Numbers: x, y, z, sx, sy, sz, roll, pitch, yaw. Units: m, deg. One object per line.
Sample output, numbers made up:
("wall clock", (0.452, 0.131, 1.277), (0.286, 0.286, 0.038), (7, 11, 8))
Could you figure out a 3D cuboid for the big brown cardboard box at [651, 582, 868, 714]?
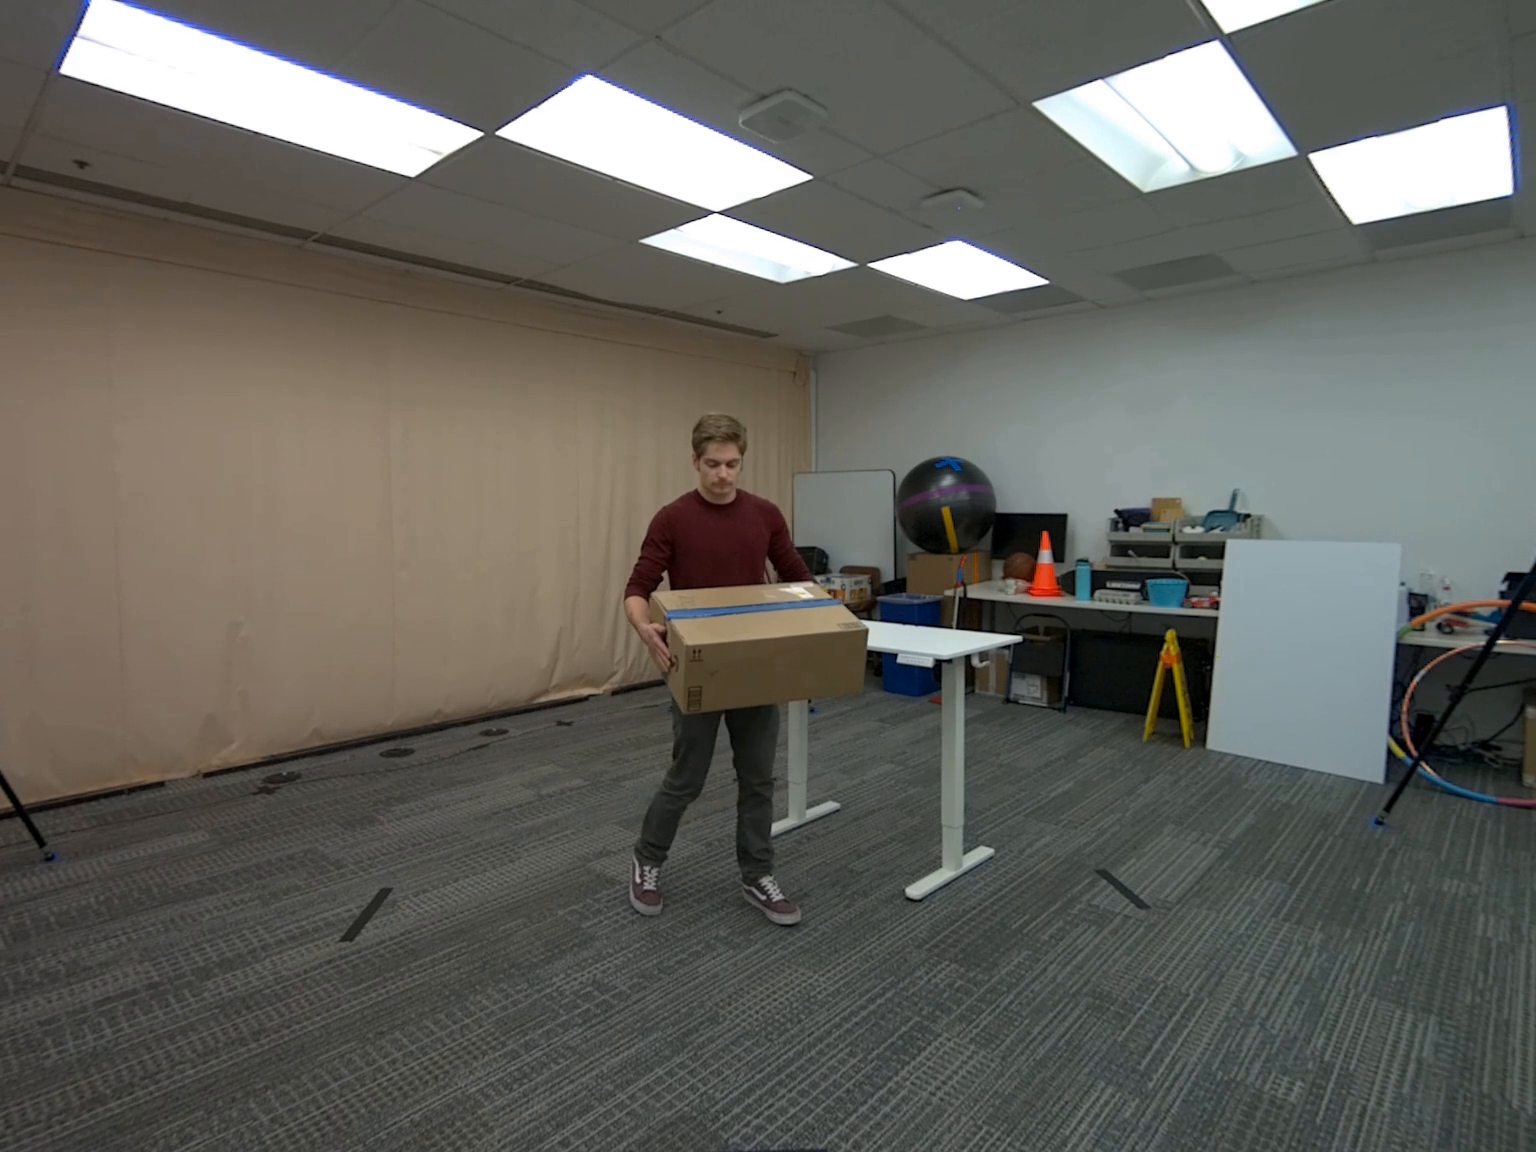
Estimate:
("big brown cardboard box", (-0.042, 0.205, 2.592), (0.579, 0.231, 0.429), (-4, 19, -17))
